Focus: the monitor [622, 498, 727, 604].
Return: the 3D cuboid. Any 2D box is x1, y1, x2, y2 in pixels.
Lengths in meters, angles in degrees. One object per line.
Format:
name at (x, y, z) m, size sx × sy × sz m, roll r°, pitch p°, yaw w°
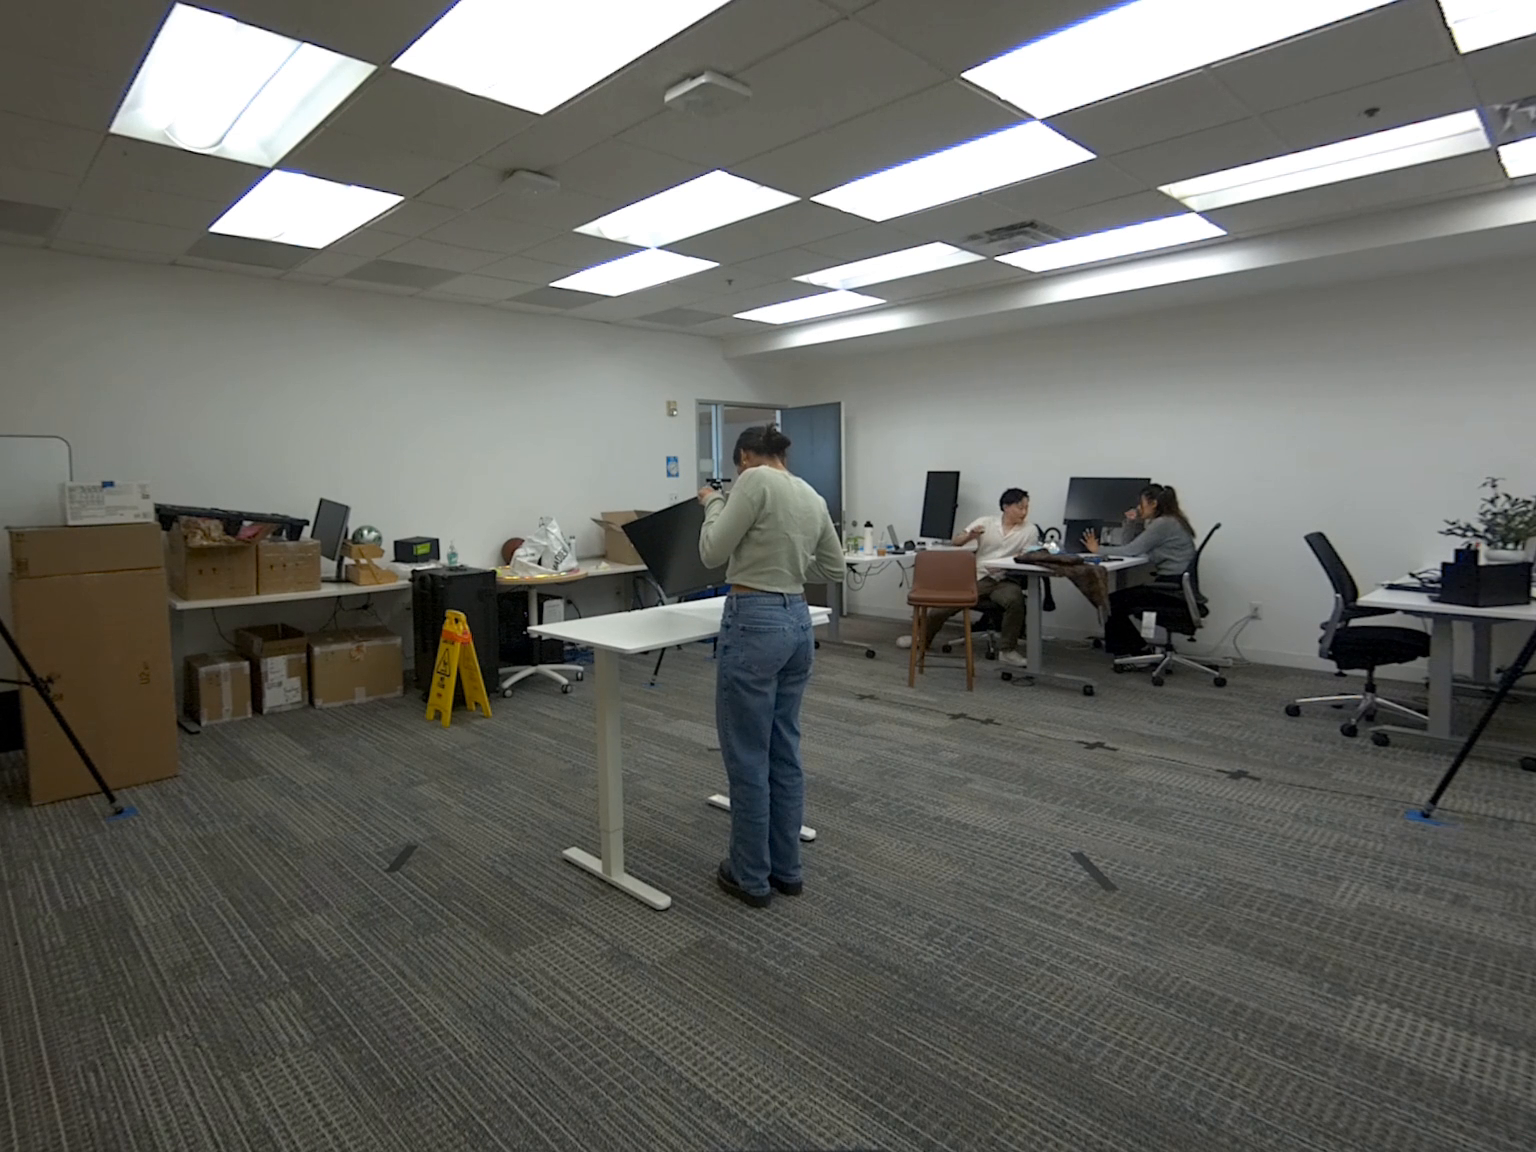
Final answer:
monitor at (-0.231, -0.067, 3.253) m, size 0.550 × 0.189 × 0.507 m, roll -16°, pitch -53°, yaw 46°
